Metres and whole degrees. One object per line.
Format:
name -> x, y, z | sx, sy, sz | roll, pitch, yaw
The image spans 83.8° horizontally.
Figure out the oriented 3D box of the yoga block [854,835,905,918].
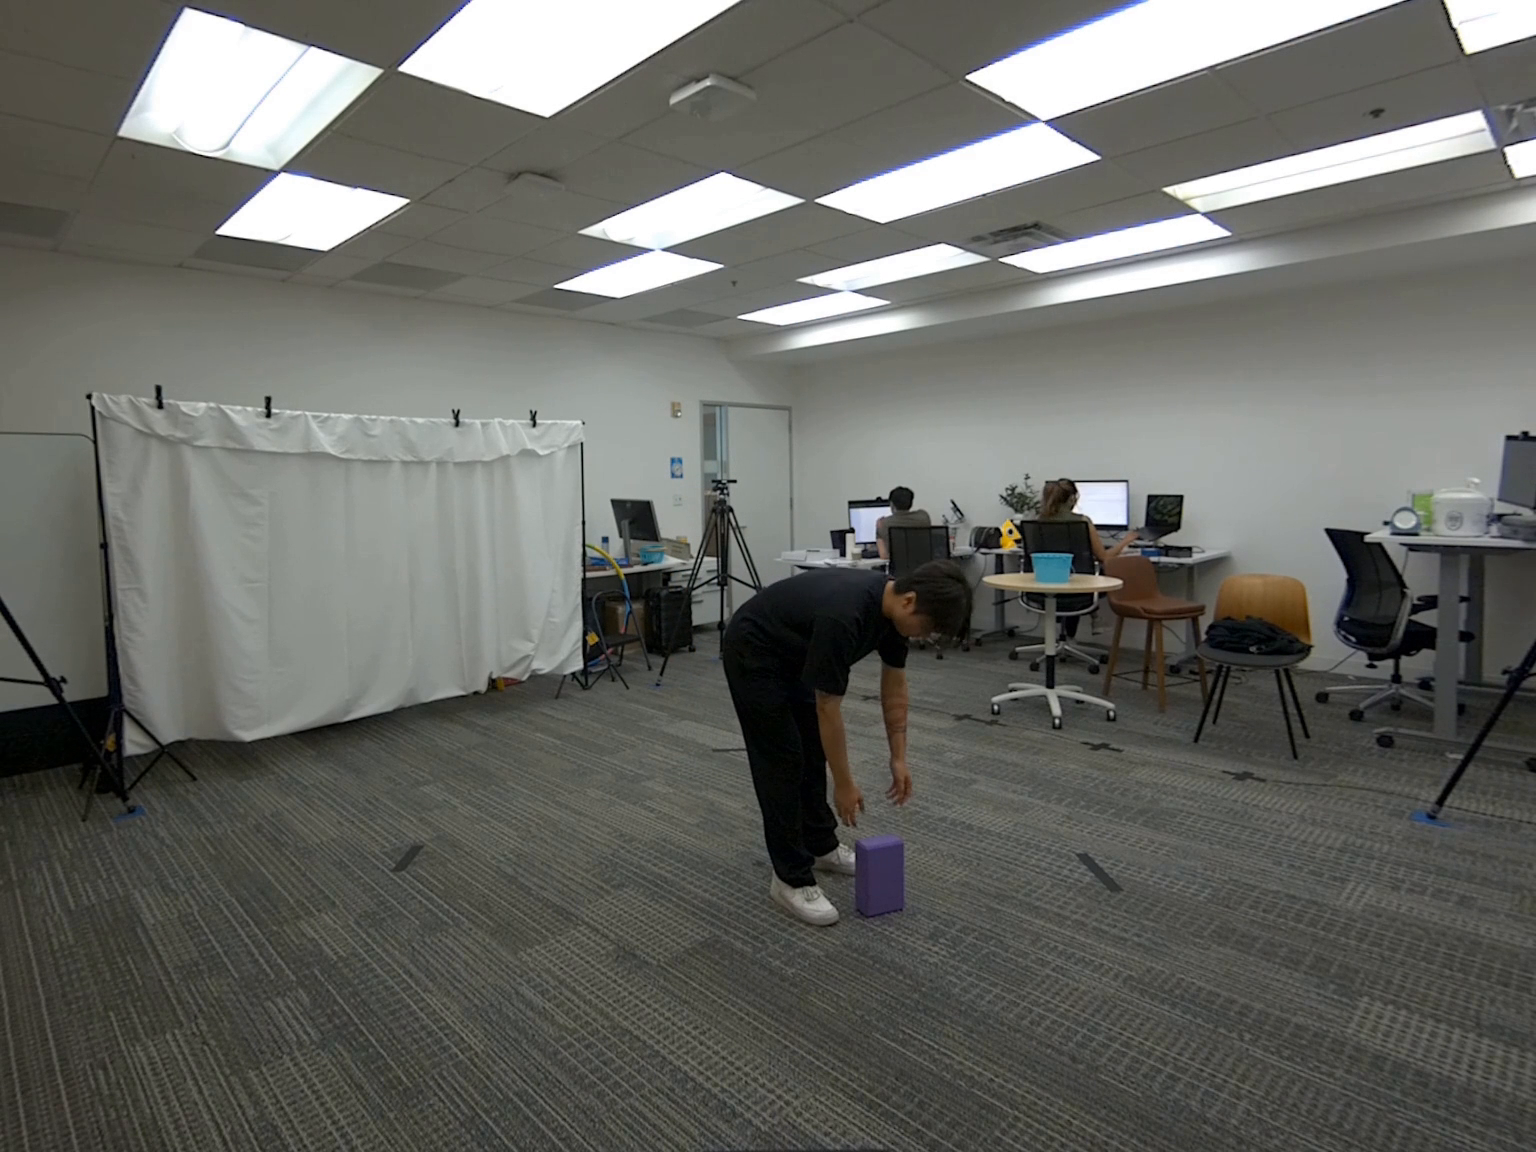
yoga block -> 0.353, 0.954, 2.759 | 0.146, 0.229, 0.078 | 0, 3, -18
